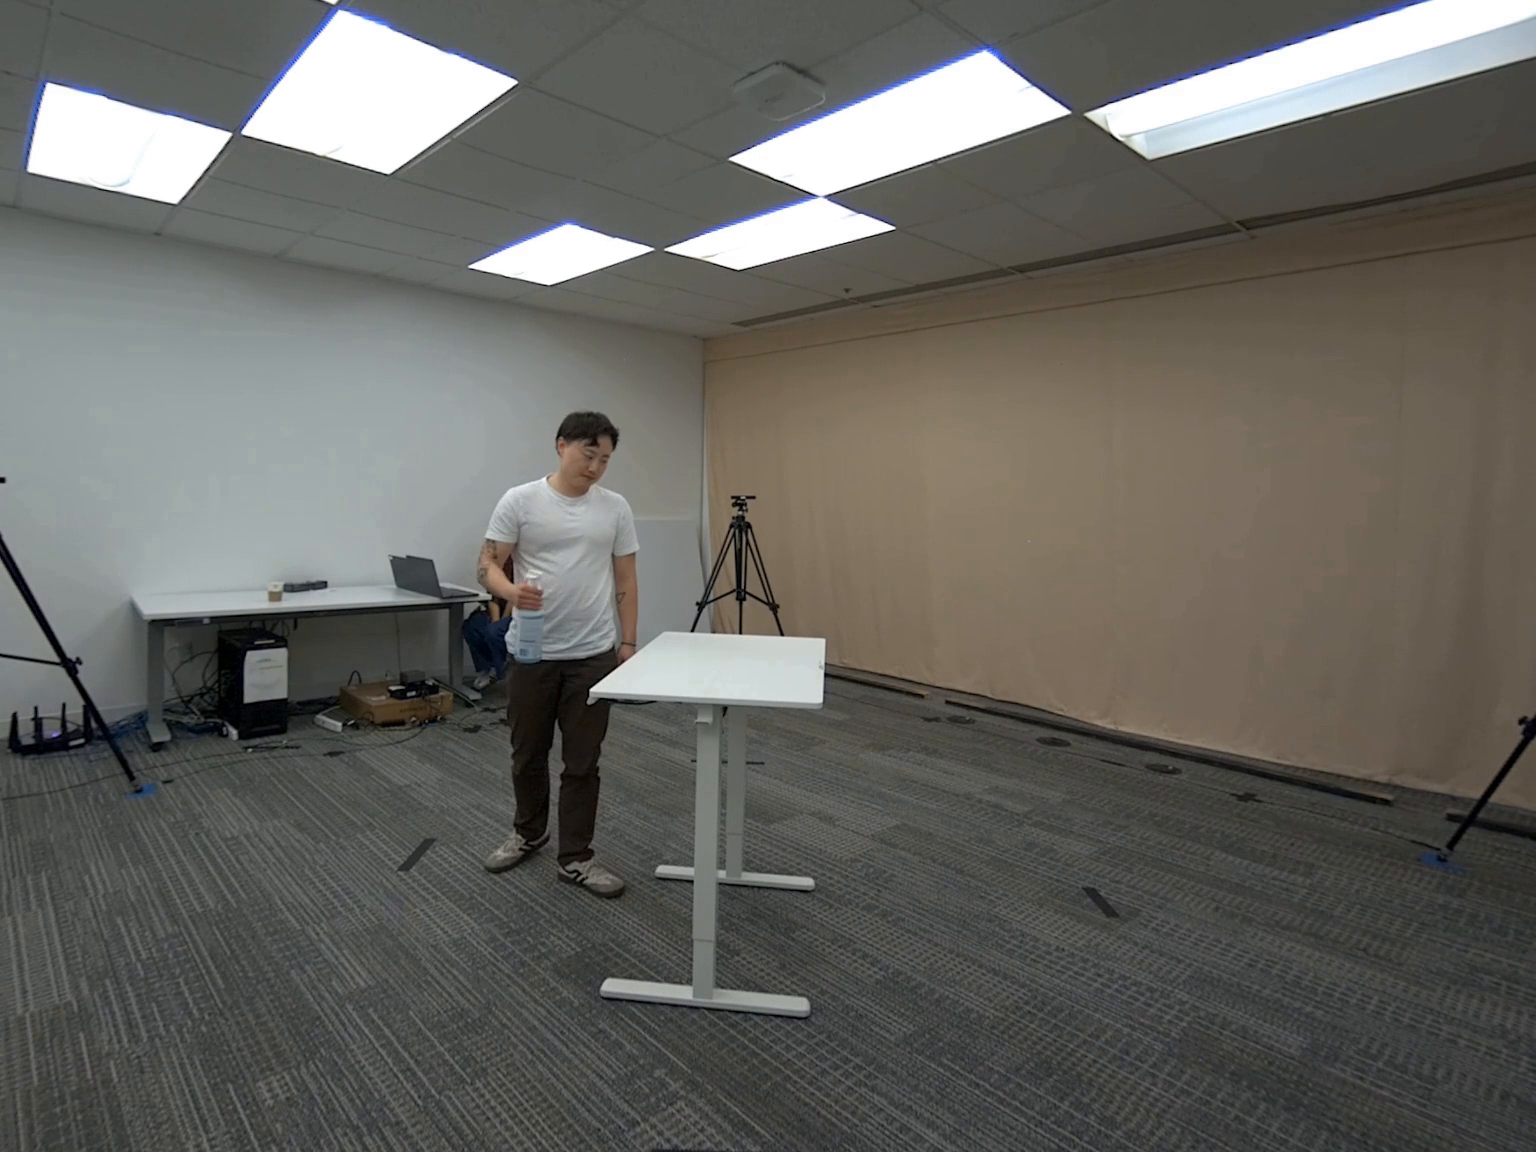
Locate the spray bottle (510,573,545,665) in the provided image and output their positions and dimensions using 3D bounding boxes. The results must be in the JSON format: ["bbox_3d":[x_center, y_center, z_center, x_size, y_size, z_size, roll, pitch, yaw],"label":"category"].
[{"bbox_3d":[-0.767,0.133,2.704,0.086,0.296,0.092,4,7,-19],"label":"spray bottle"}]
